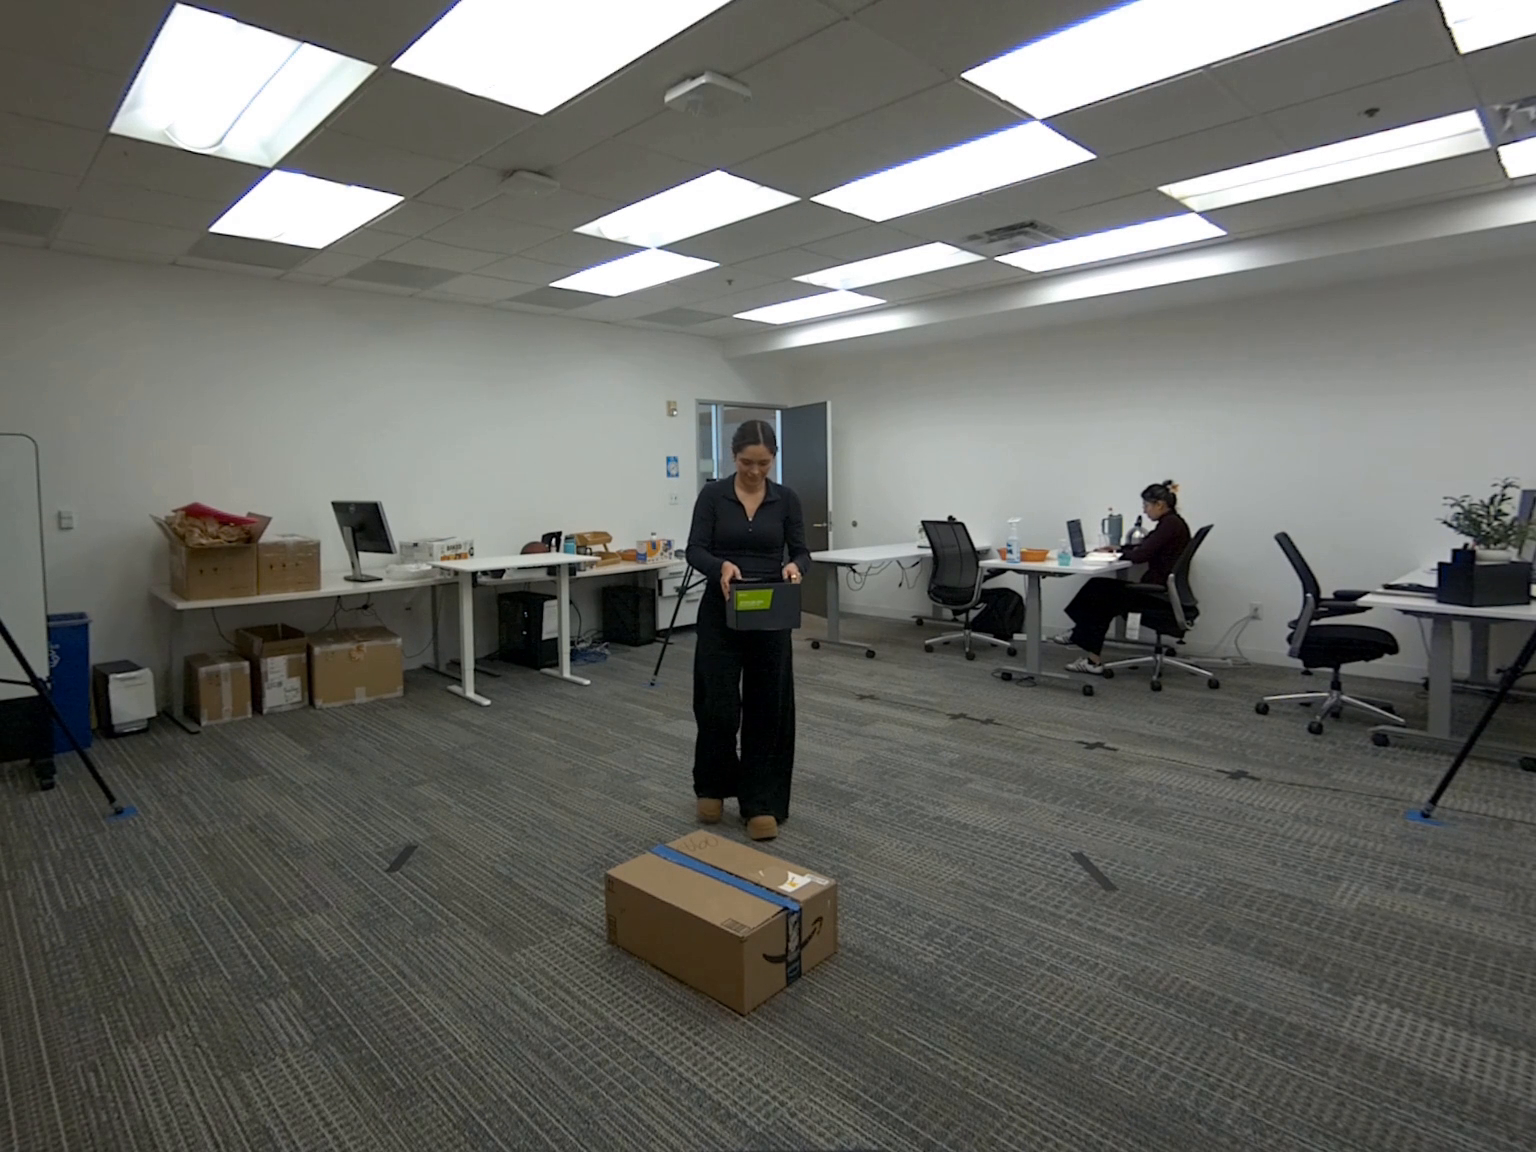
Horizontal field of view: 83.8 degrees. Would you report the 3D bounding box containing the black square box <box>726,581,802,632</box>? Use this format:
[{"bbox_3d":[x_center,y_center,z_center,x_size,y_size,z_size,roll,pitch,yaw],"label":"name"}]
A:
[{"bbox_3d":[-0.015,0.107,3.030,0.226,0.156,0.218,-2,0,-7],"label":"black square box"}]
